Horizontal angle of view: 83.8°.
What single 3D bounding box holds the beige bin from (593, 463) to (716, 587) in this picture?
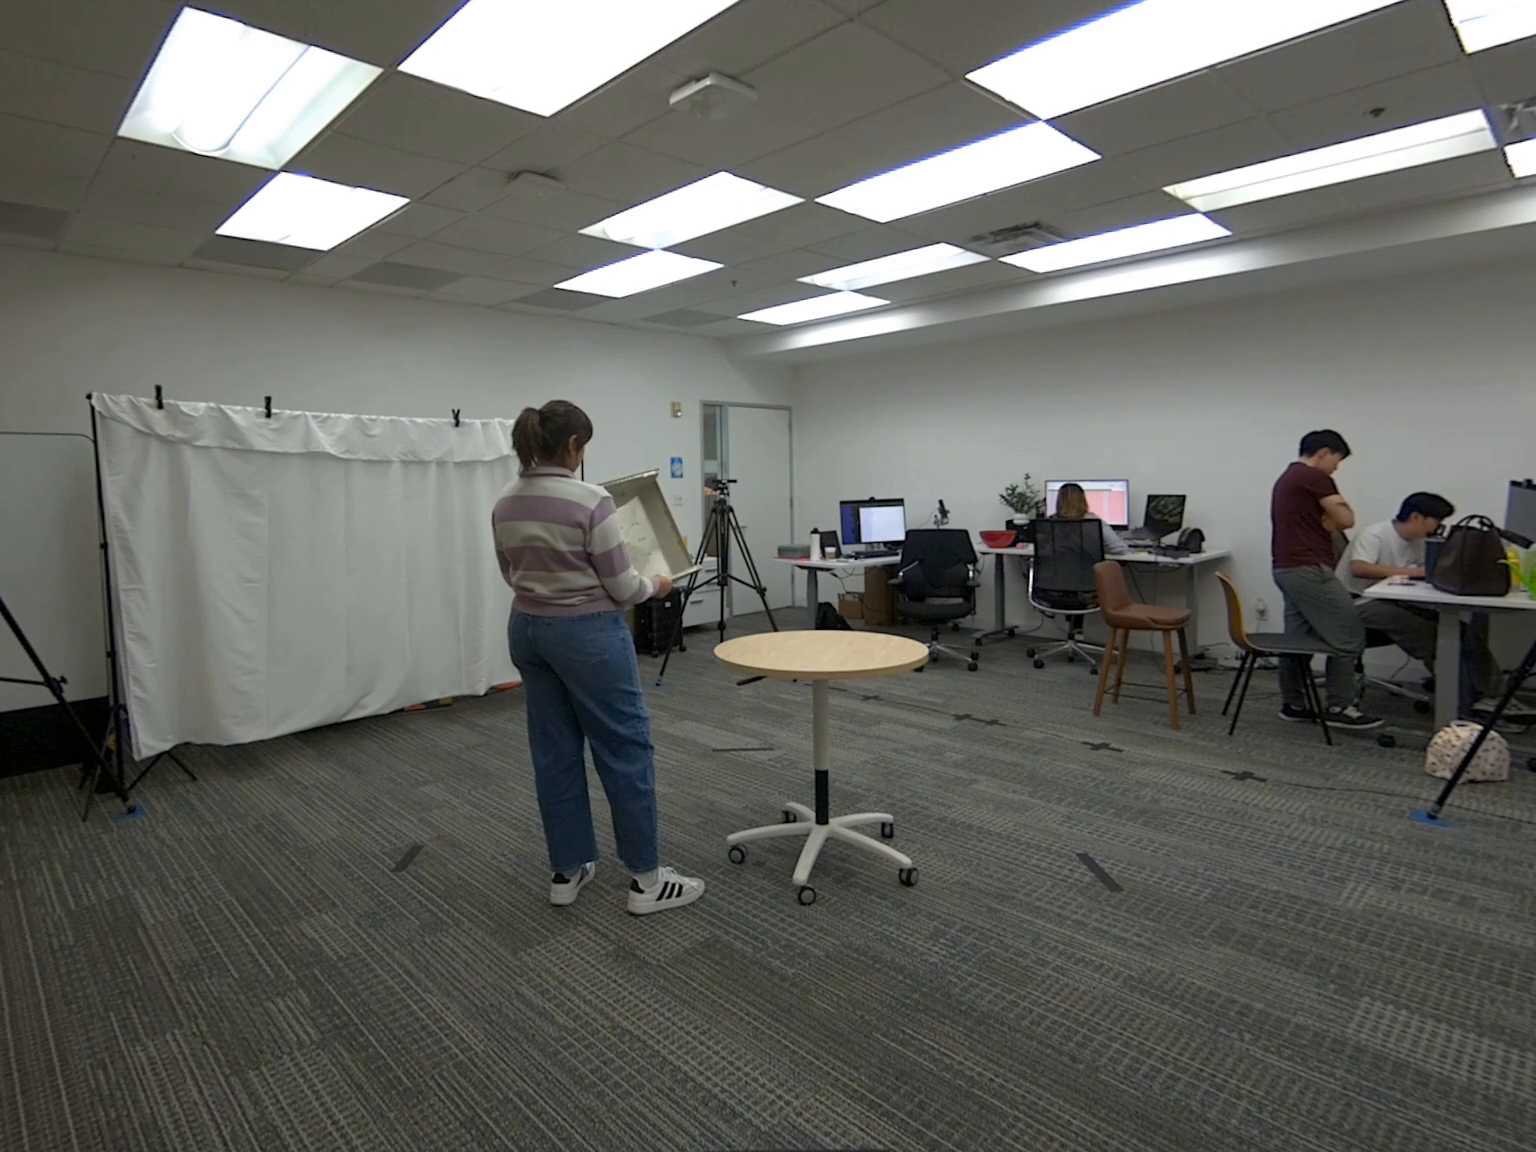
[{"bbox_3d":[-0.477,-0.152,3.195,0.371,0.426,0.190,-22,-8,-38],"label":"beige bin"}]
